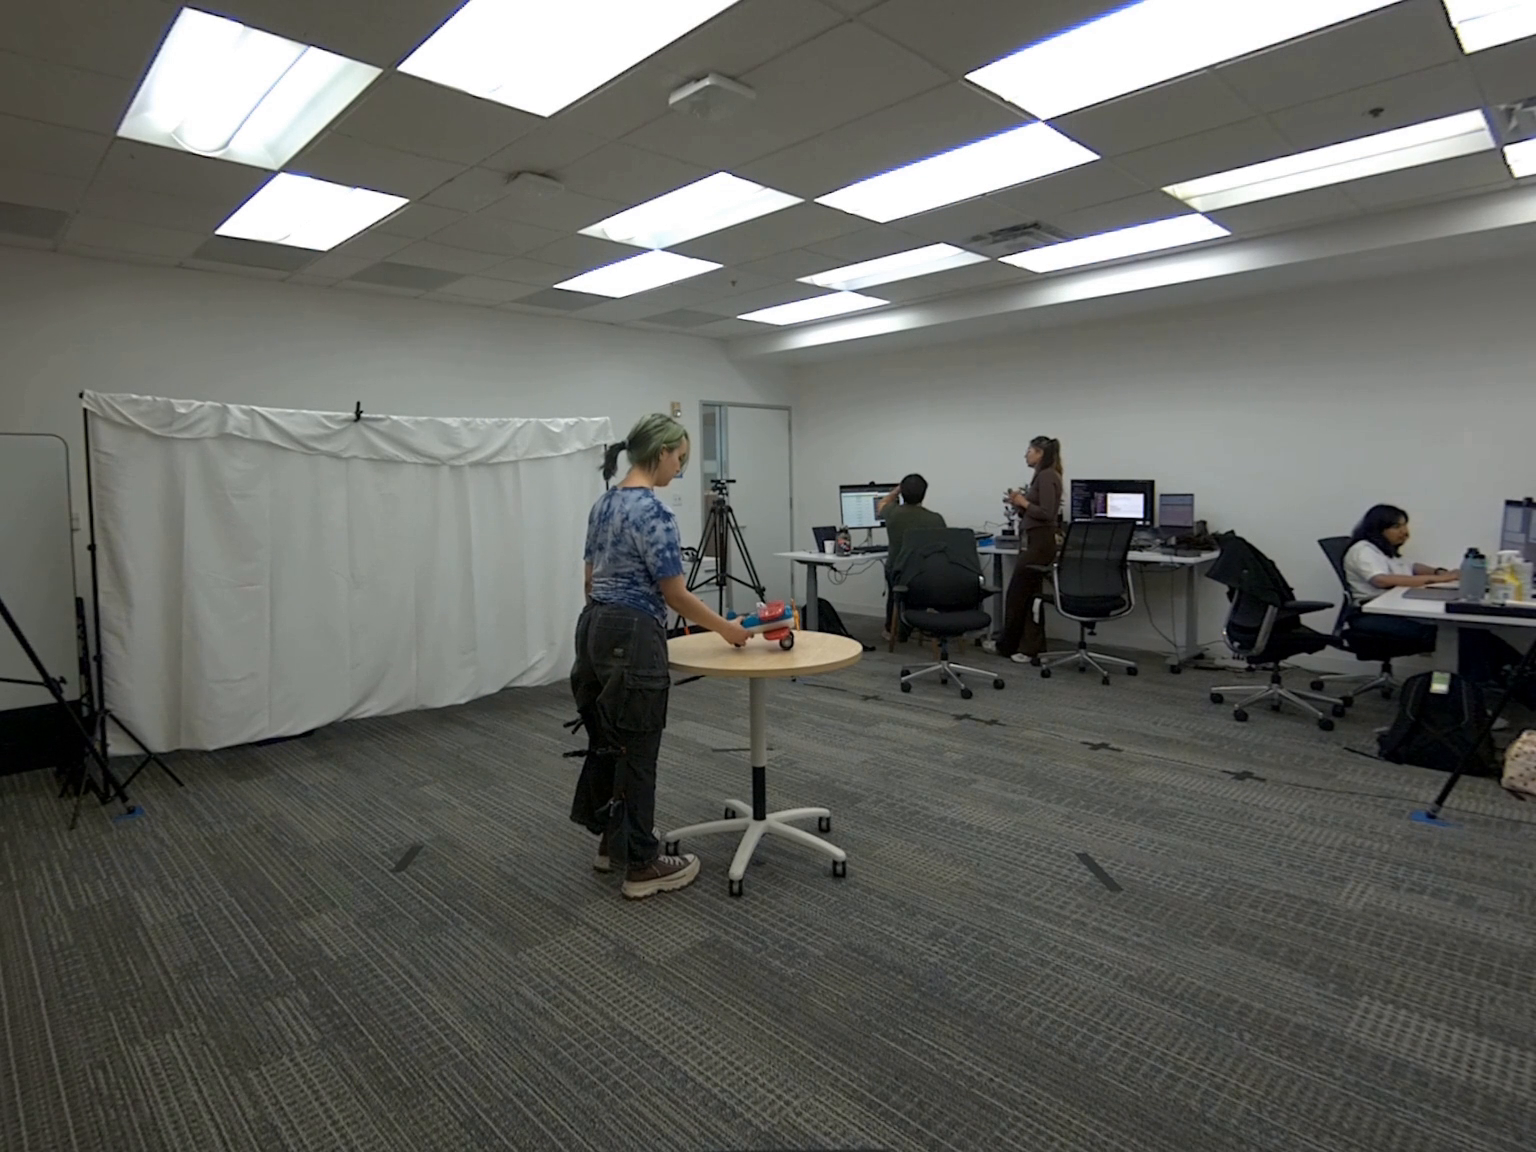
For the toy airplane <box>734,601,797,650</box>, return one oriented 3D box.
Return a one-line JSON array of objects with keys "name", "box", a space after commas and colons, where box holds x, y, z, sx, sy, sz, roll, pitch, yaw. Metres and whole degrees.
[{"name": "toy airplane", "box": [-0.010, 0.178, 3.073, 0.254, 0.155, 0.258, -4, 8, -26]}]
